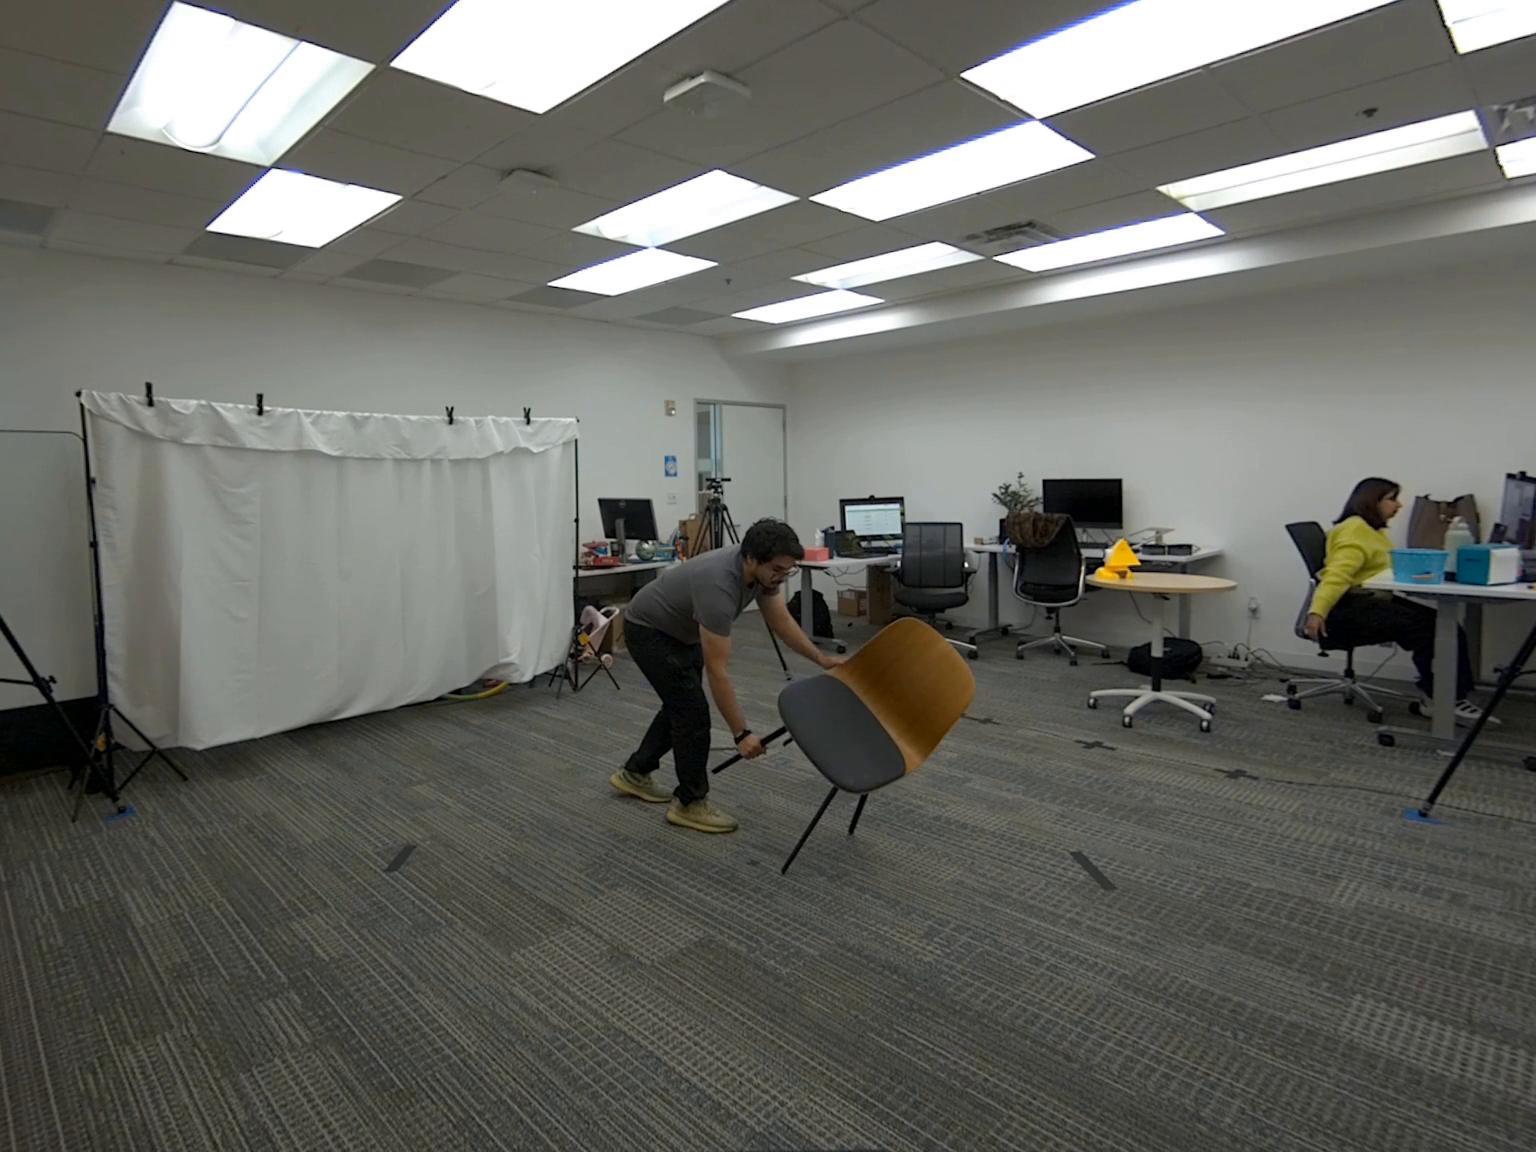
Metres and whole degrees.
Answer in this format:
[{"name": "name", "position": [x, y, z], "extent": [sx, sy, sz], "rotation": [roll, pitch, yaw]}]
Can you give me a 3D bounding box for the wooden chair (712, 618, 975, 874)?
[{"name": "wooden chair", "position": [0.273, 0.578, 3.064], "extent": [0.509, 0.874, 0.493], "rotation": [-1, 46, -53]}]
